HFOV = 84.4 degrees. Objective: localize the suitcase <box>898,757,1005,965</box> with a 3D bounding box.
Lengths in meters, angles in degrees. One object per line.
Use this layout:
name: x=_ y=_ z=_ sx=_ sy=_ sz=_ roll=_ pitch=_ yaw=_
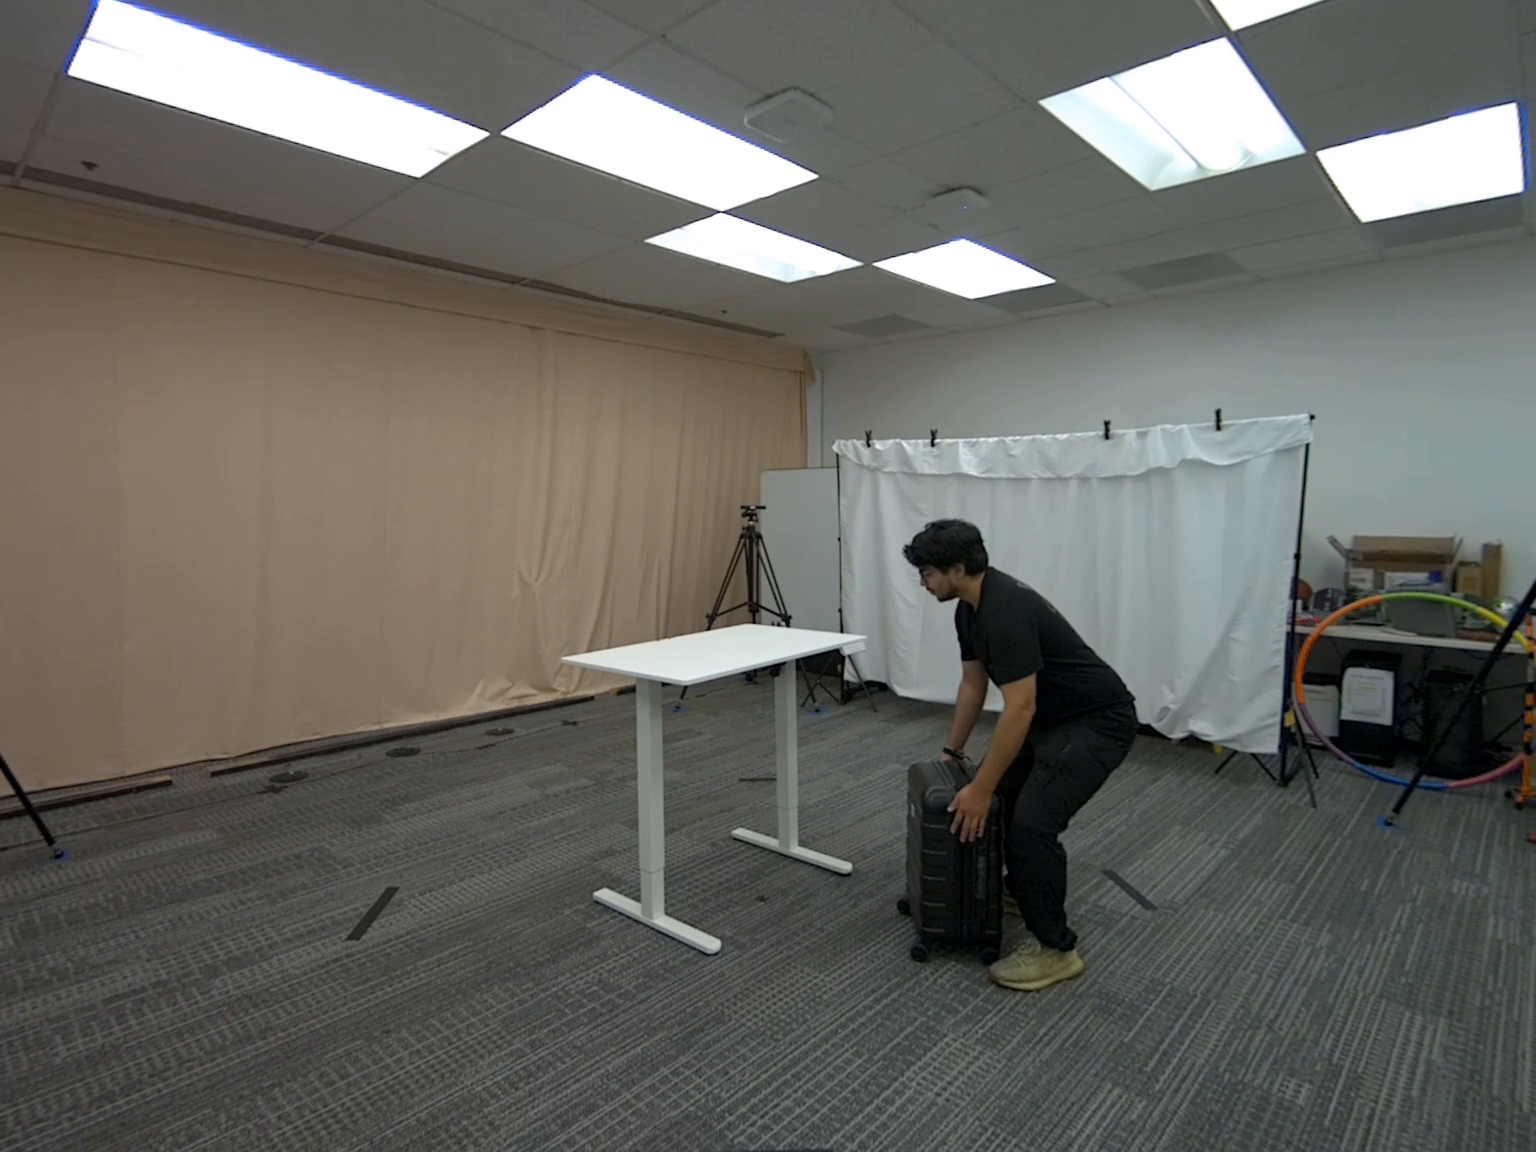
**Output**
suitcase: x=0.594 y=0.891 z=2.686 sx=0.249 sy=0.548 sz=0.376 roll=-2 pitch=4 yaw=1
